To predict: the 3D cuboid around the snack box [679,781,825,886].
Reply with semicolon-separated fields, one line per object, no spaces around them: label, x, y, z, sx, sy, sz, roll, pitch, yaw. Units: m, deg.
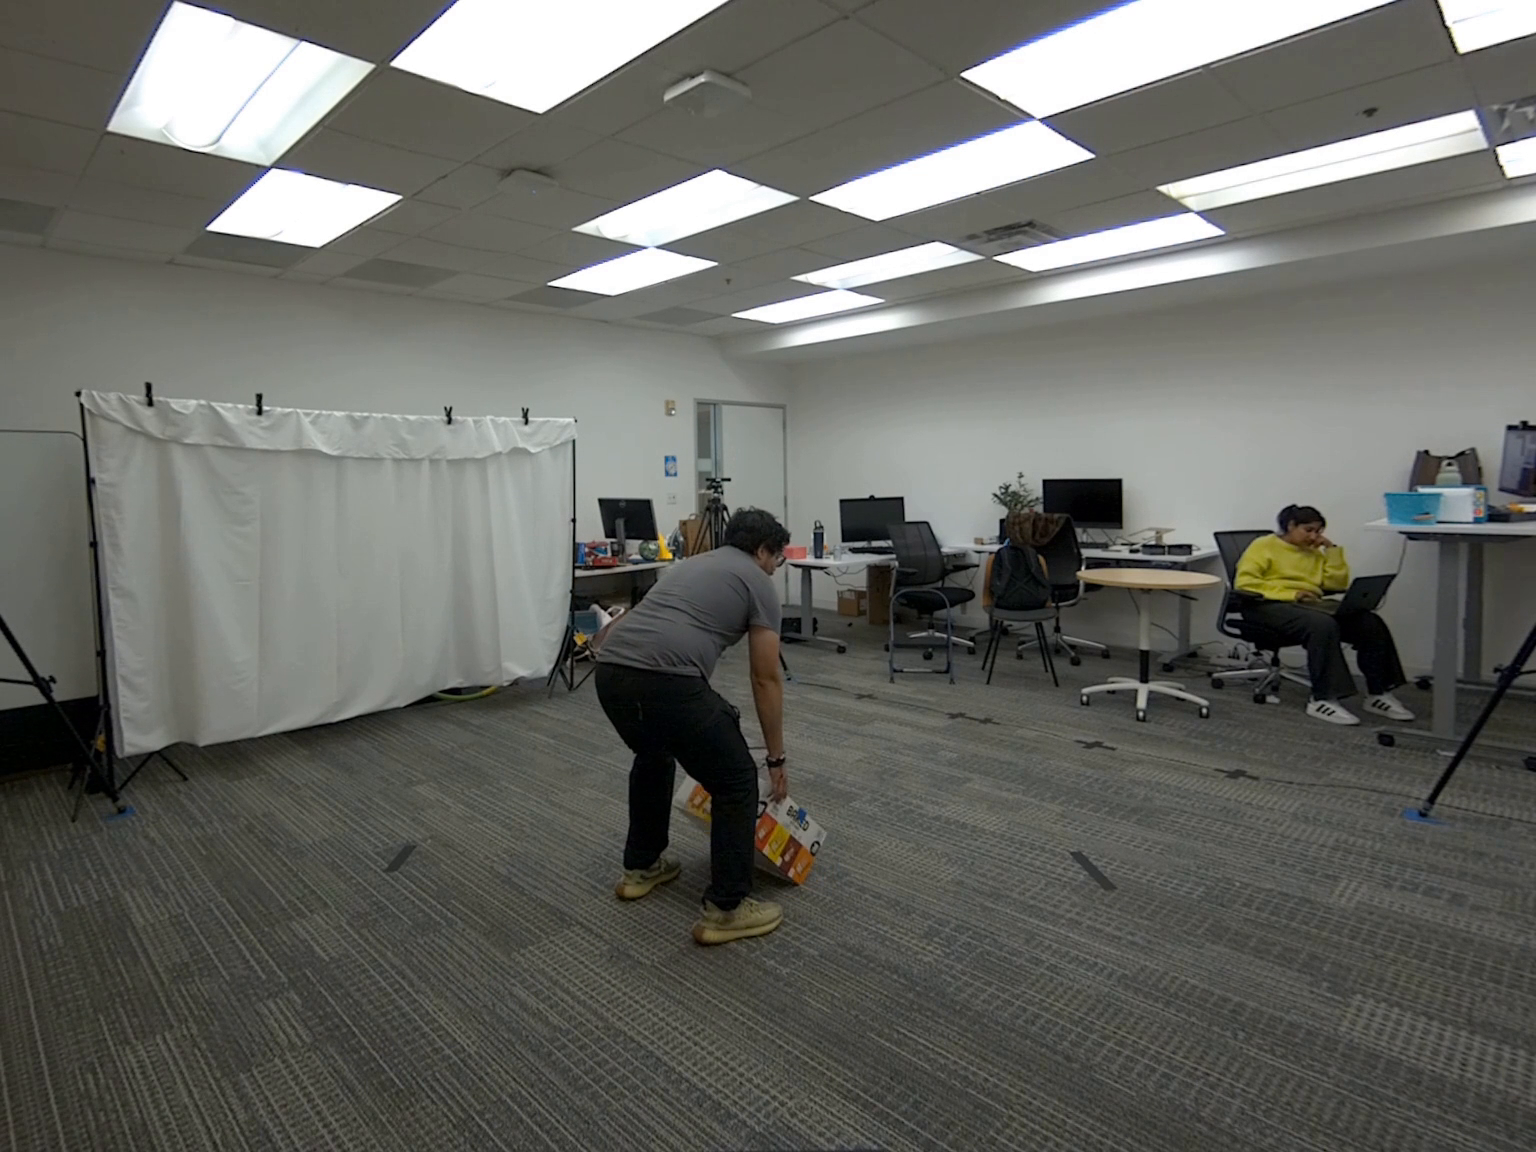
snack box;-0.066;0.862;3.025;0.418;0.206;0.328;7;-36;46
